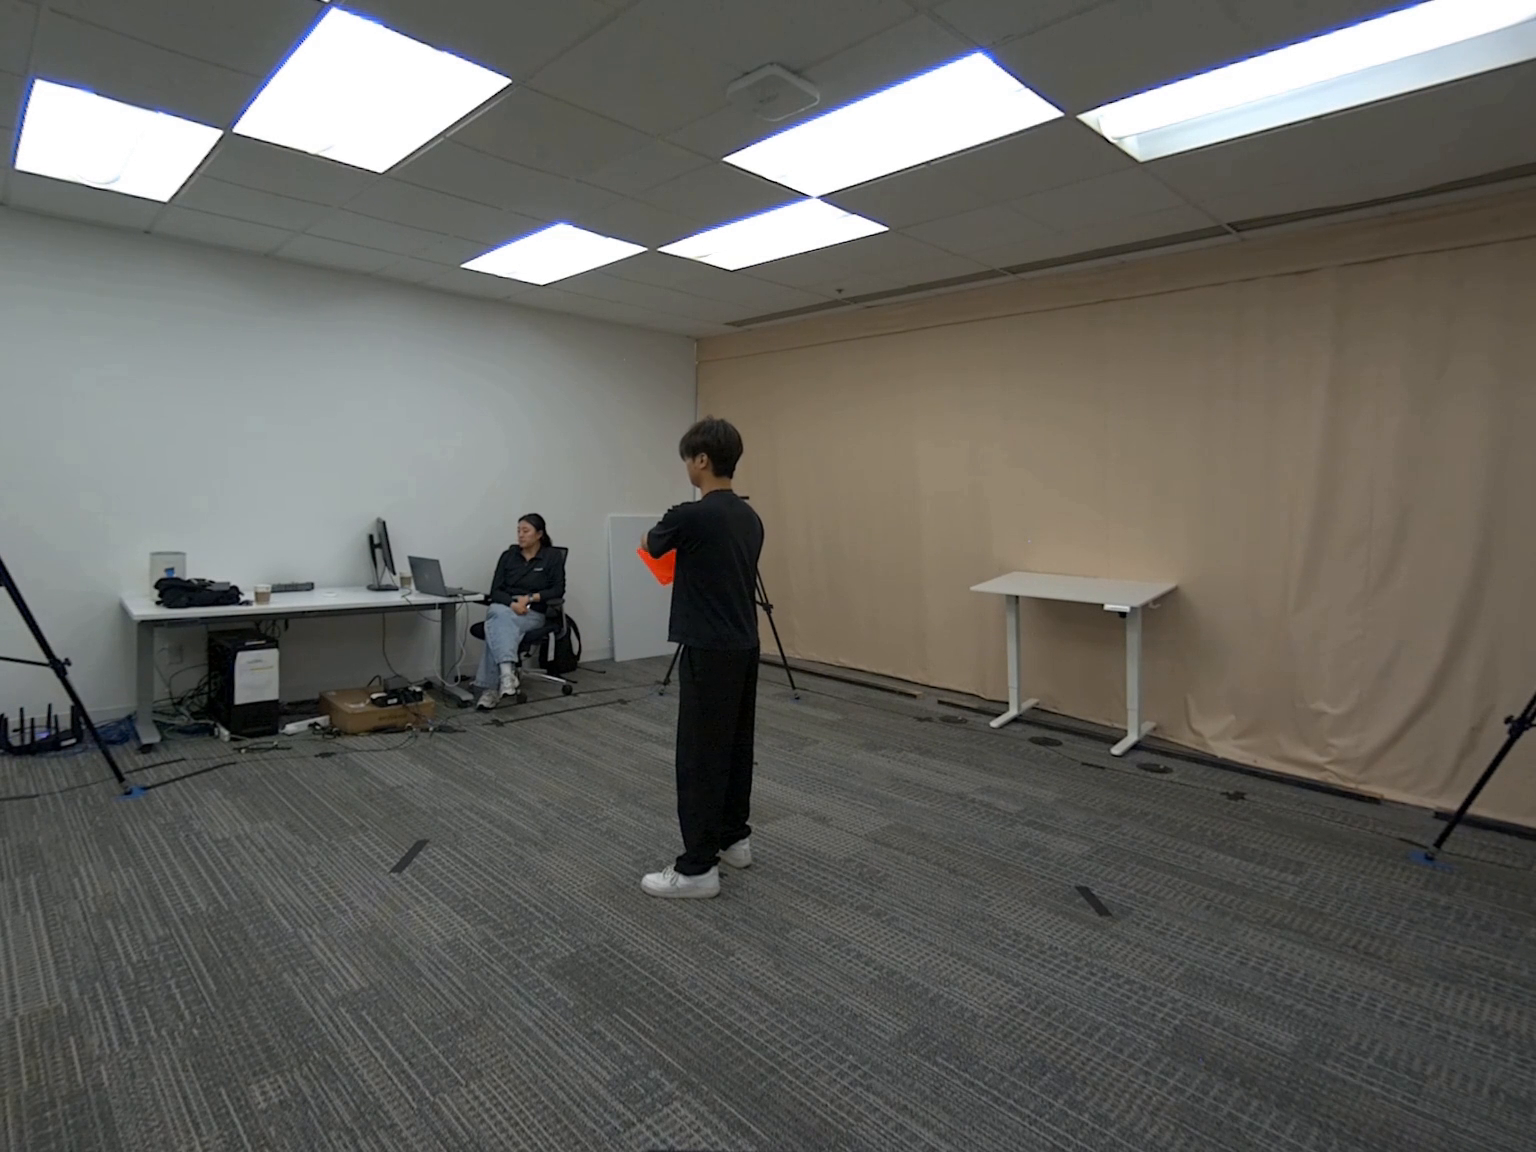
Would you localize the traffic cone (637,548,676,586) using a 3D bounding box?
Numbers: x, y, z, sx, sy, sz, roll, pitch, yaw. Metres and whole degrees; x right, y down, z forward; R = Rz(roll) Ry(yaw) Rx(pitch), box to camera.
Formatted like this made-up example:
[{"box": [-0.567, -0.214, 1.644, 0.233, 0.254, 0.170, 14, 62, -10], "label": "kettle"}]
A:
[{"box": [-0.372, -0.162, 3.560, 0.208, 0.199, 0.387, -20, 29, 33], "label": "traffic cone"}]
